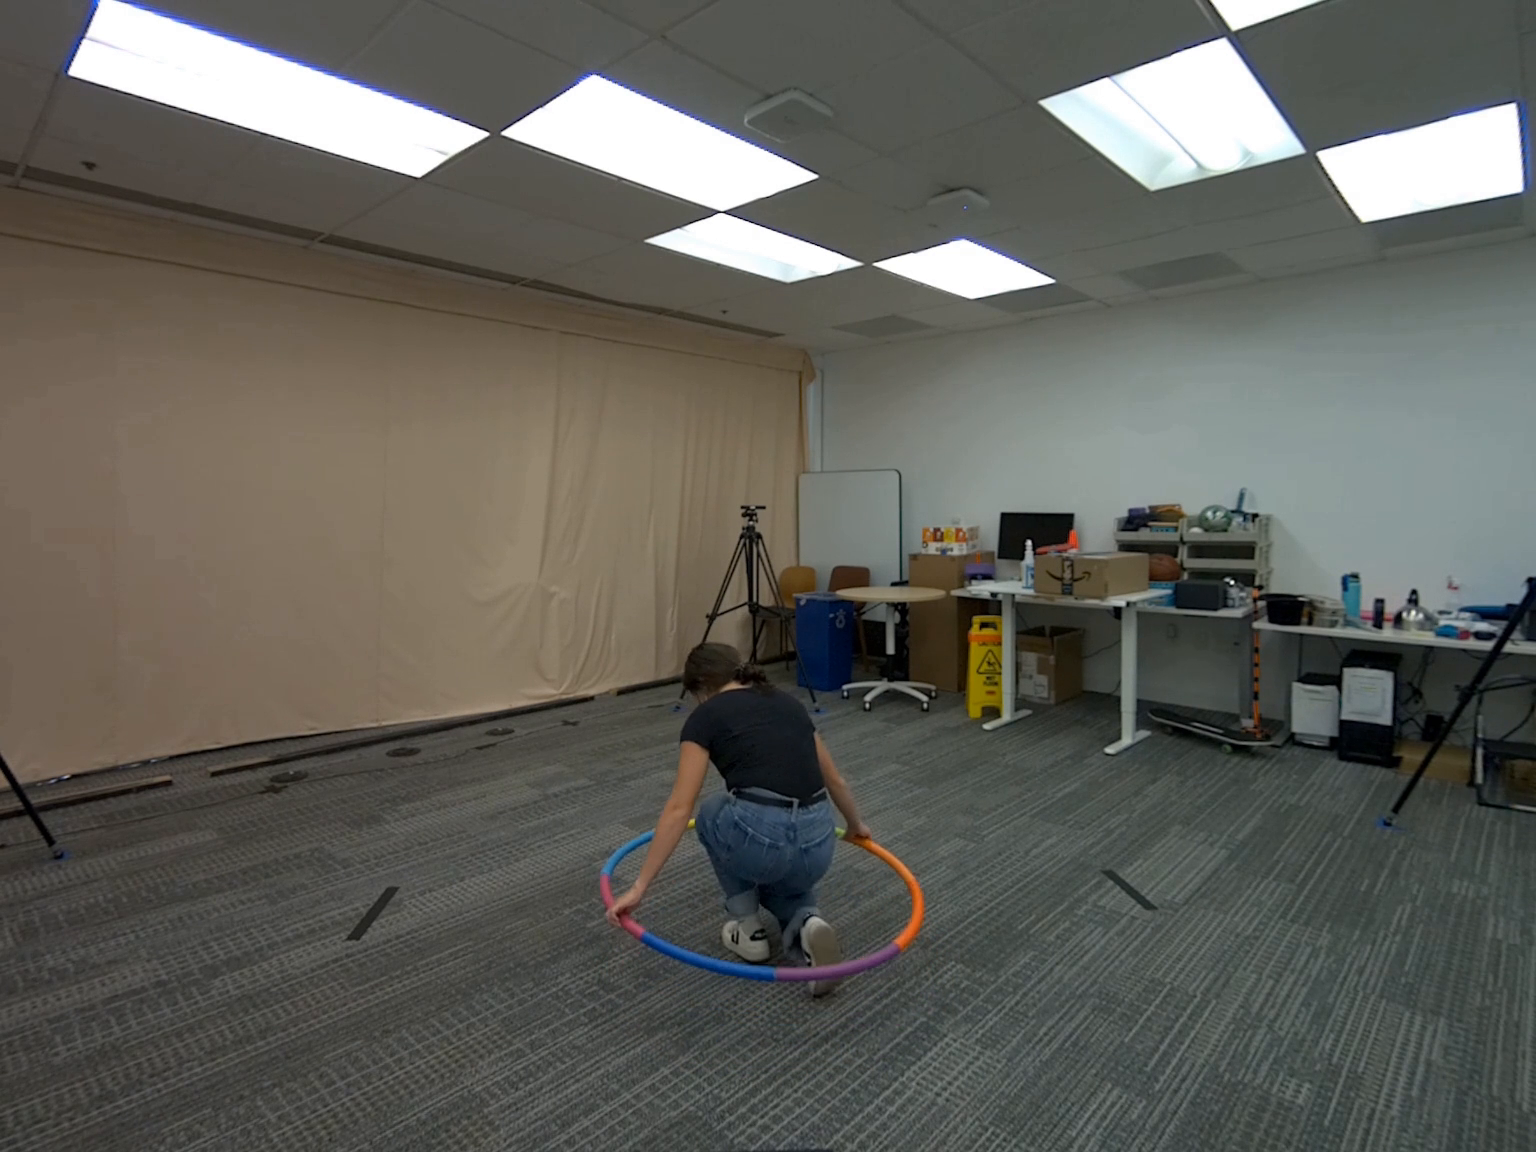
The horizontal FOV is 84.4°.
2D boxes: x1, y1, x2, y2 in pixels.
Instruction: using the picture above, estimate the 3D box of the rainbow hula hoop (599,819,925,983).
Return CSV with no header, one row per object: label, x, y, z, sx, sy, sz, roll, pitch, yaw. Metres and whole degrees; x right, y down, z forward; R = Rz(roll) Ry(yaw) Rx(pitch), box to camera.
rainbow hula hoop,-0.017,0.947,2.603,0.978,0.035,0.984,1,7,-2
